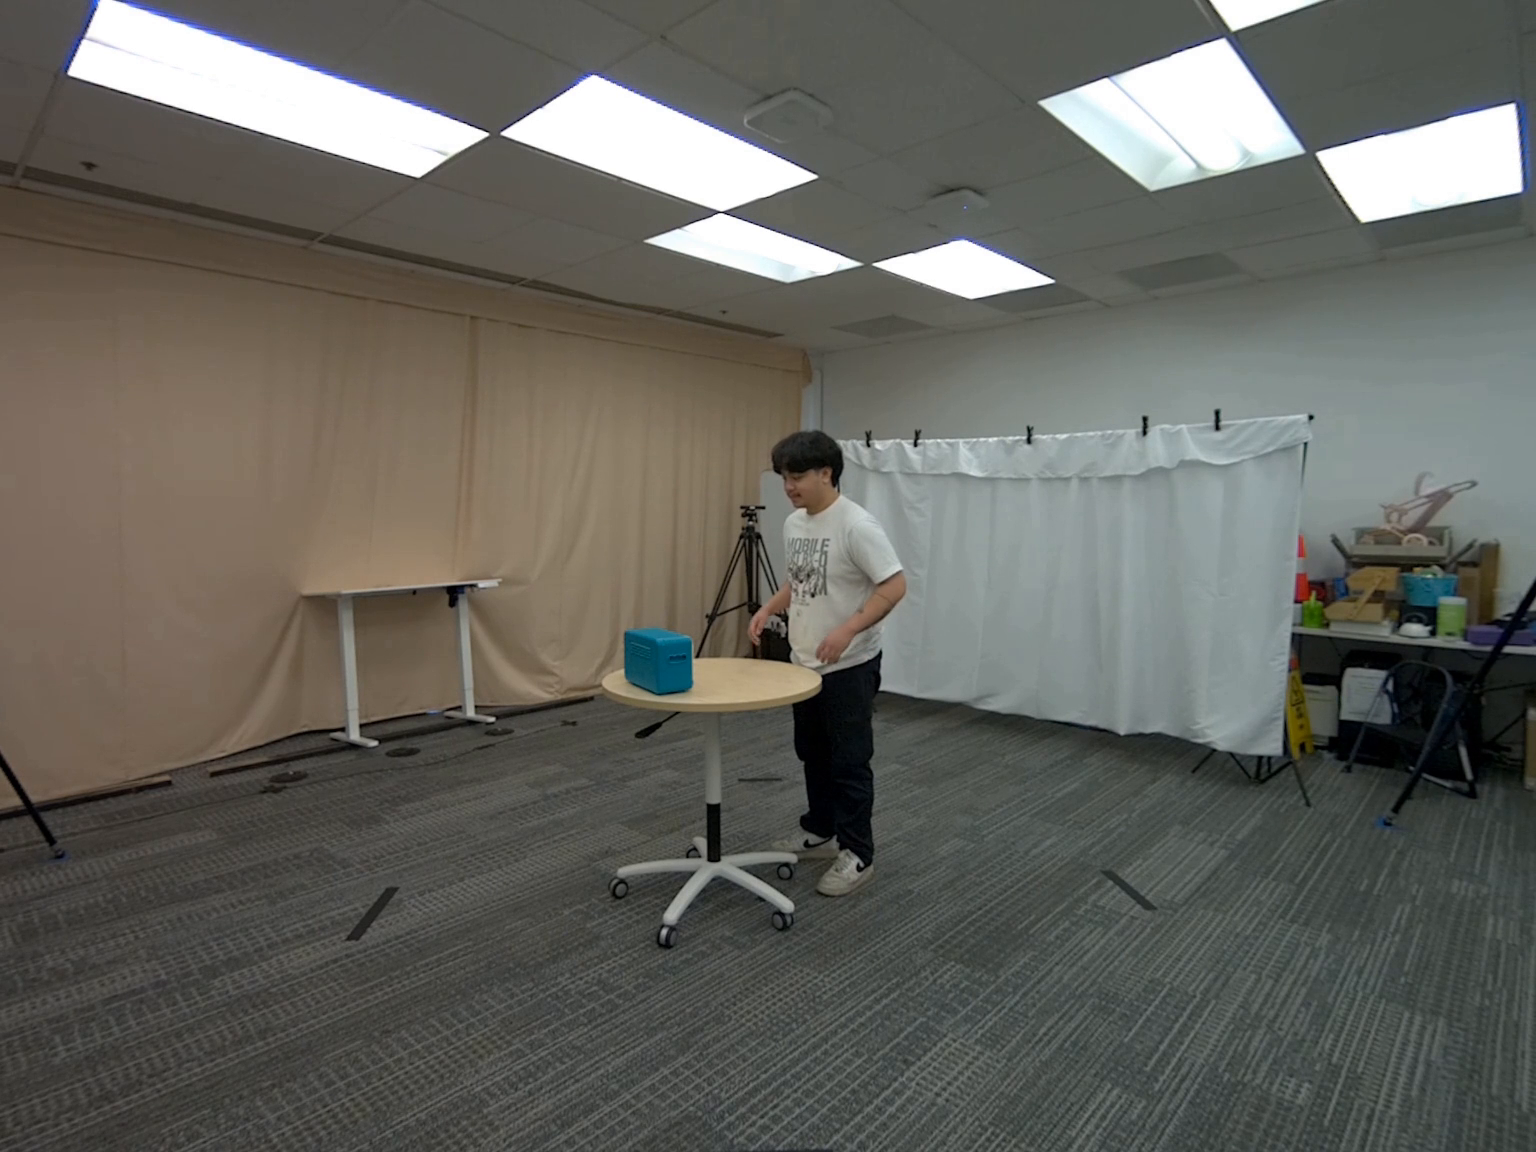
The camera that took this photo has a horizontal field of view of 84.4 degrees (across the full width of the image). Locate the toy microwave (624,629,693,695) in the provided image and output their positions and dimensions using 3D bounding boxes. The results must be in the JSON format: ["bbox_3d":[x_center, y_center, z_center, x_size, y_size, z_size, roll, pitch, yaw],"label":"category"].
[{"bbox_3d":[-0.360,0.278,2.811,0.148,0.184,0.294,-3,4,-31],"label":"toy microwave"}]
